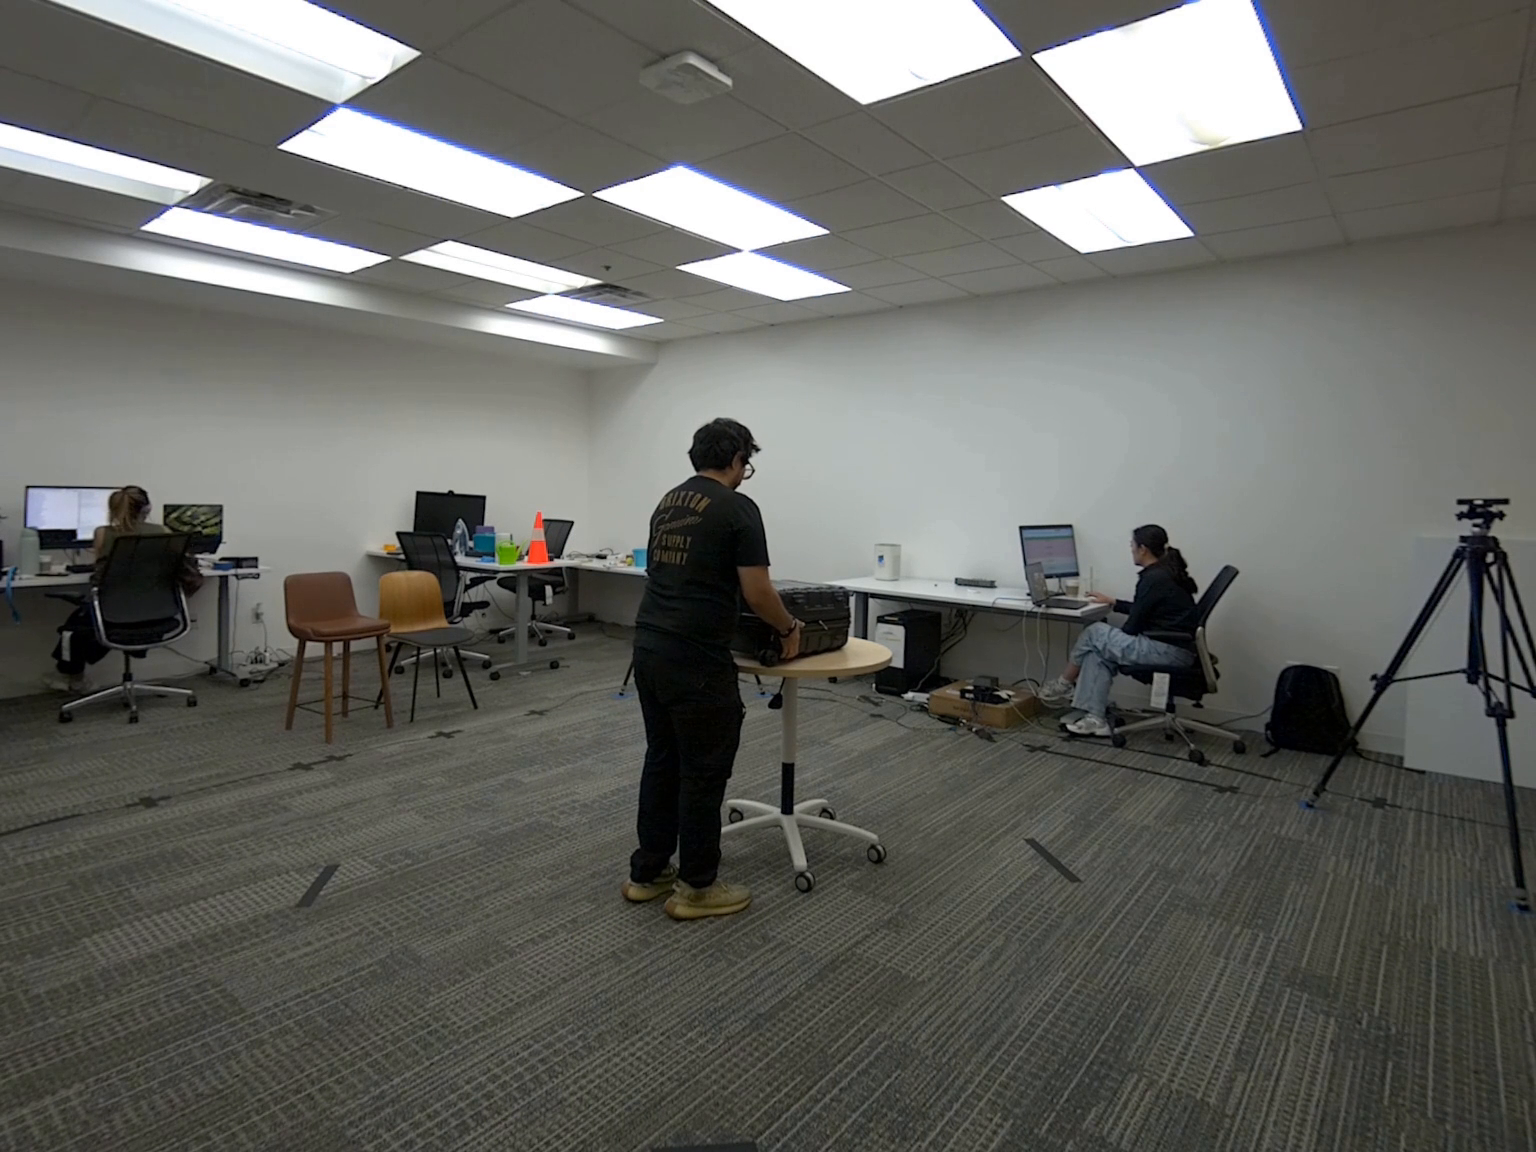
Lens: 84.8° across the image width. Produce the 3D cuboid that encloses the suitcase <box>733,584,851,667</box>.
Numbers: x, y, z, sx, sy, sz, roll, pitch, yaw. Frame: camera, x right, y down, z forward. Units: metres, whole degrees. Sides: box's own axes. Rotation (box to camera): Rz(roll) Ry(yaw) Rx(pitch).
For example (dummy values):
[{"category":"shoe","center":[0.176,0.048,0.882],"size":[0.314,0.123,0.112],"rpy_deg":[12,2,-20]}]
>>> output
[{"category":"suitcase","center":[0.043,0.156,3.215],"size":[0.388,0.248,0.533],"rpy_deg":[4,4,38]}]
